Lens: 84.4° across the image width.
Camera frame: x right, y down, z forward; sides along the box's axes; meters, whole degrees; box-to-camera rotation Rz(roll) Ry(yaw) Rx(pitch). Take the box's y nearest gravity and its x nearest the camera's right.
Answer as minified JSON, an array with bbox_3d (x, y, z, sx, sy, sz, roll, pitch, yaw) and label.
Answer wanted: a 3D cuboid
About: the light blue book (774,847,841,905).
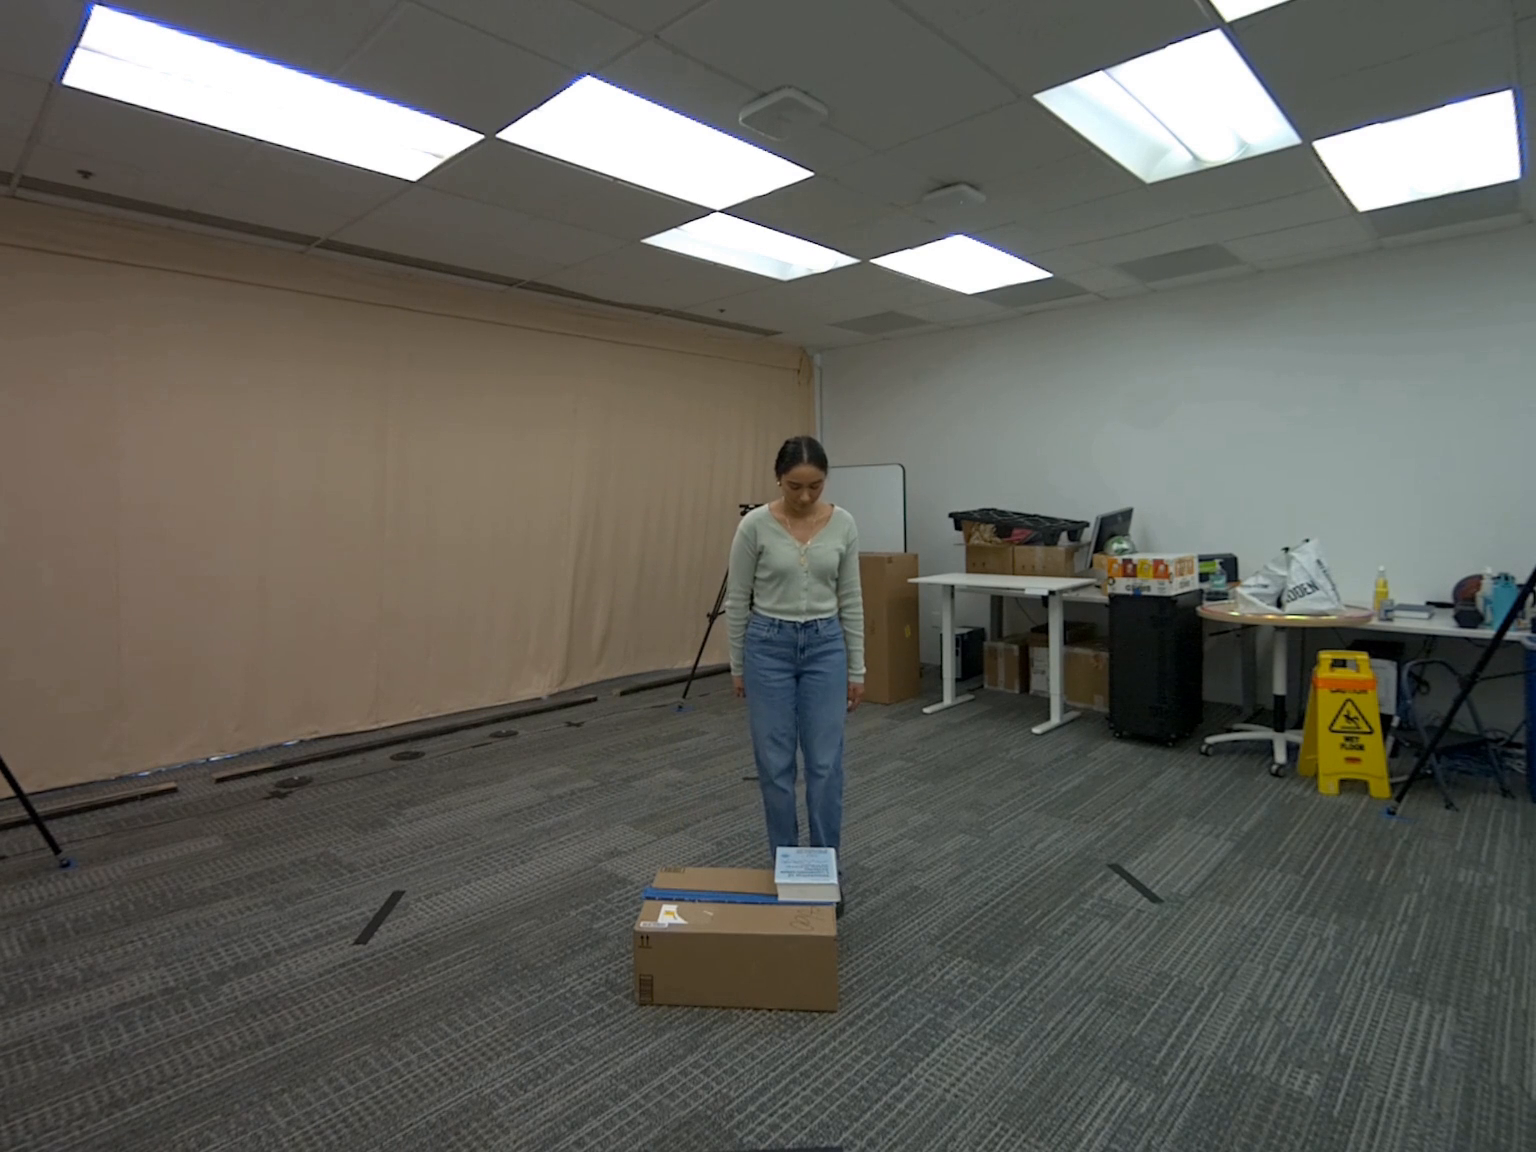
[{"bbox_3d":[0.118,0.916,2.622,0.192,0.059,0.260,-1,4,3],"label":"light blue book"}]
